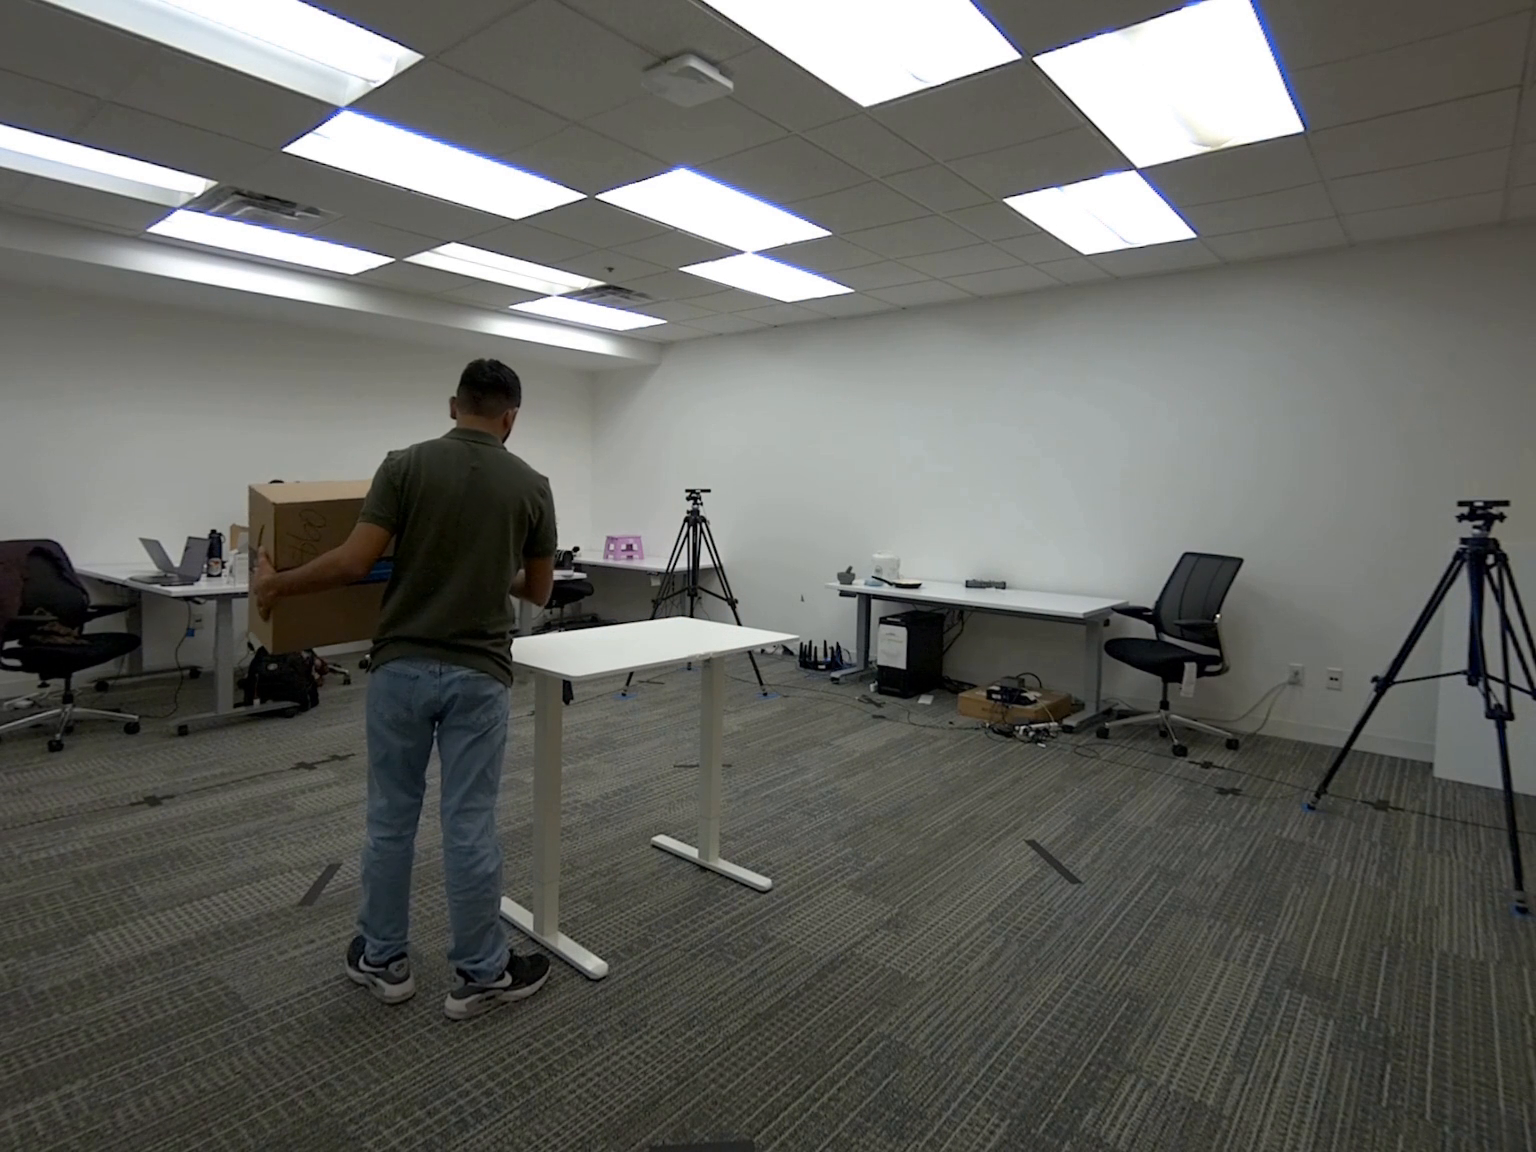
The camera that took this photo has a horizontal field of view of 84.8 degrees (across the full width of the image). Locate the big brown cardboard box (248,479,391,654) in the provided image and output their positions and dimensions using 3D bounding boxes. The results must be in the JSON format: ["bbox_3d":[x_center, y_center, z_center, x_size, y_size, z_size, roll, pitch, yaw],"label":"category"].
[{"bbox_3d":[-1.157,-0.050,2.449,0.573,0.412,0.242,-9,22,-44],"label":"big brown cardboard box"}]
